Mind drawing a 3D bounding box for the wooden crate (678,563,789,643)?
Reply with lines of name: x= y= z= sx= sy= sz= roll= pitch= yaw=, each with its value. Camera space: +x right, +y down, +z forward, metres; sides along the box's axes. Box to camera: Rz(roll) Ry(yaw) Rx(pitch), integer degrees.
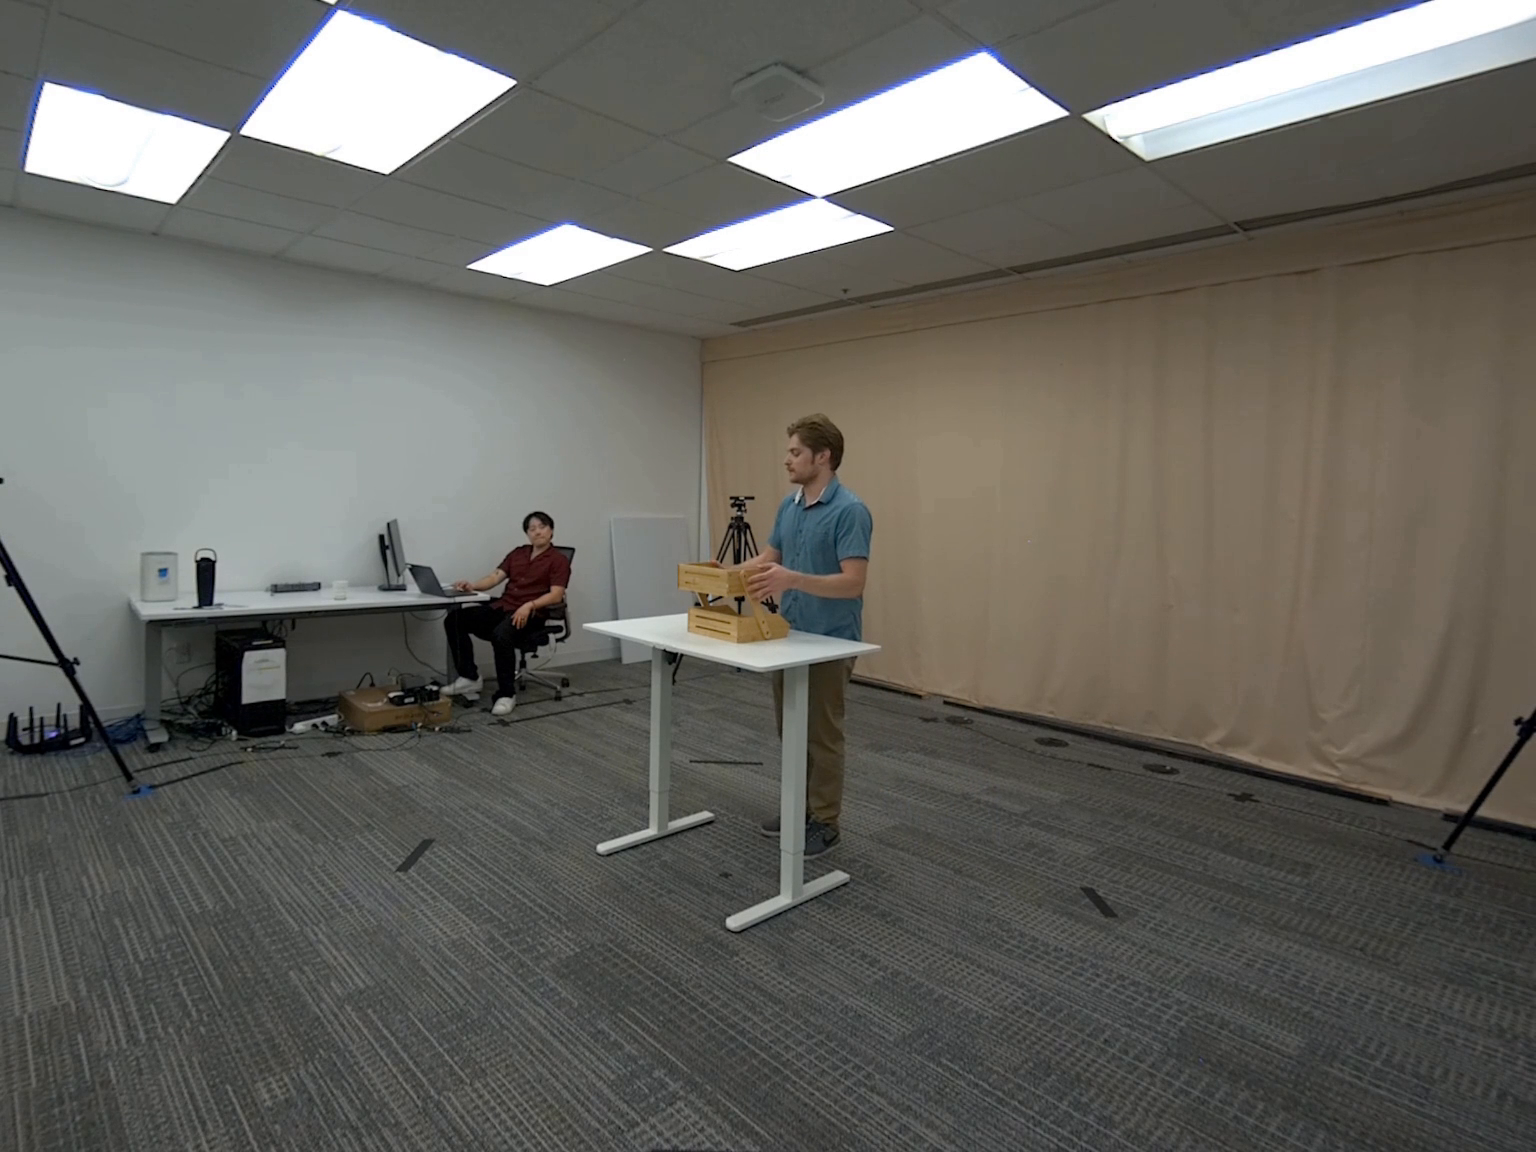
wooden crate: x=-0.132 y=0.089 z=3.118 sx=0.295 sy=0.272 sz=0.333 roll=-3 pitch=6 yaw=-41
